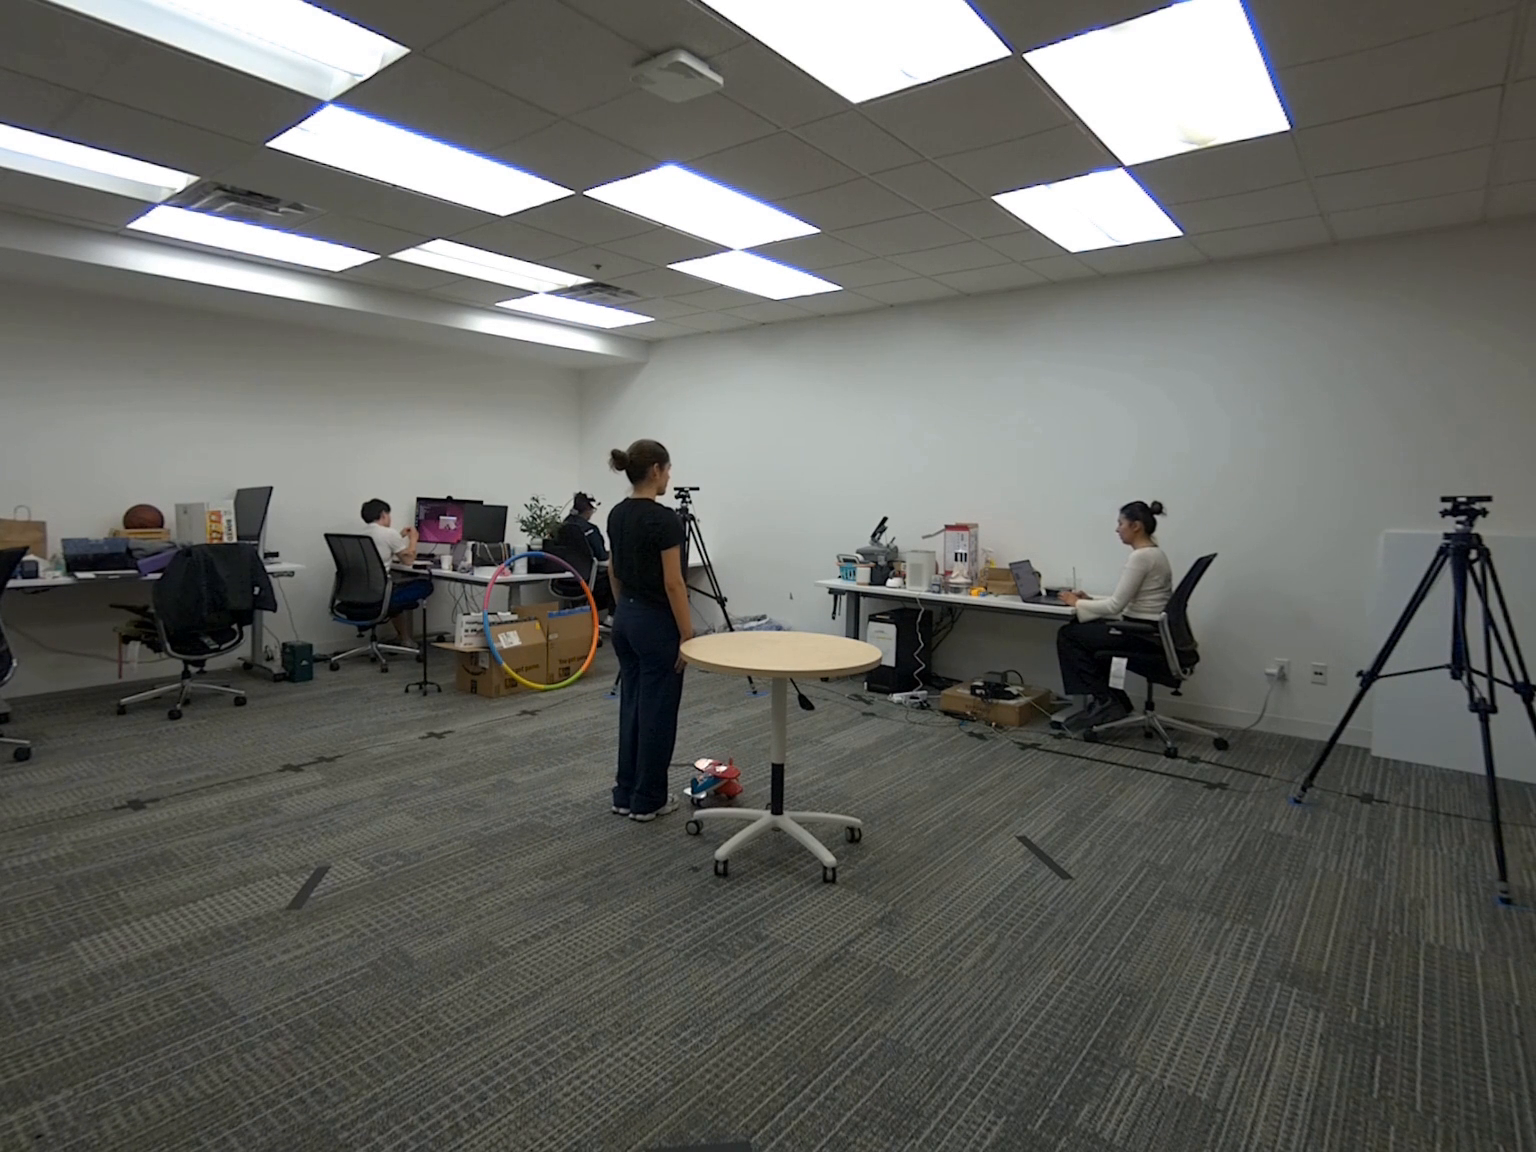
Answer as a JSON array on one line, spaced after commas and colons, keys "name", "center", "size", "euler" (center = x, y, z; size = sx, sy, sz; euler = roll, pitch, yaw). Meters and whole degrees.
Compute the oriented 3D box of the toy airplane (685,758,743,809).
[{"name": "toy airplane", "center": [-0.221, 0.930, 3.797], "size": [0.255, 0.156, 0.256], "euler": [2, 3, 14]}]
